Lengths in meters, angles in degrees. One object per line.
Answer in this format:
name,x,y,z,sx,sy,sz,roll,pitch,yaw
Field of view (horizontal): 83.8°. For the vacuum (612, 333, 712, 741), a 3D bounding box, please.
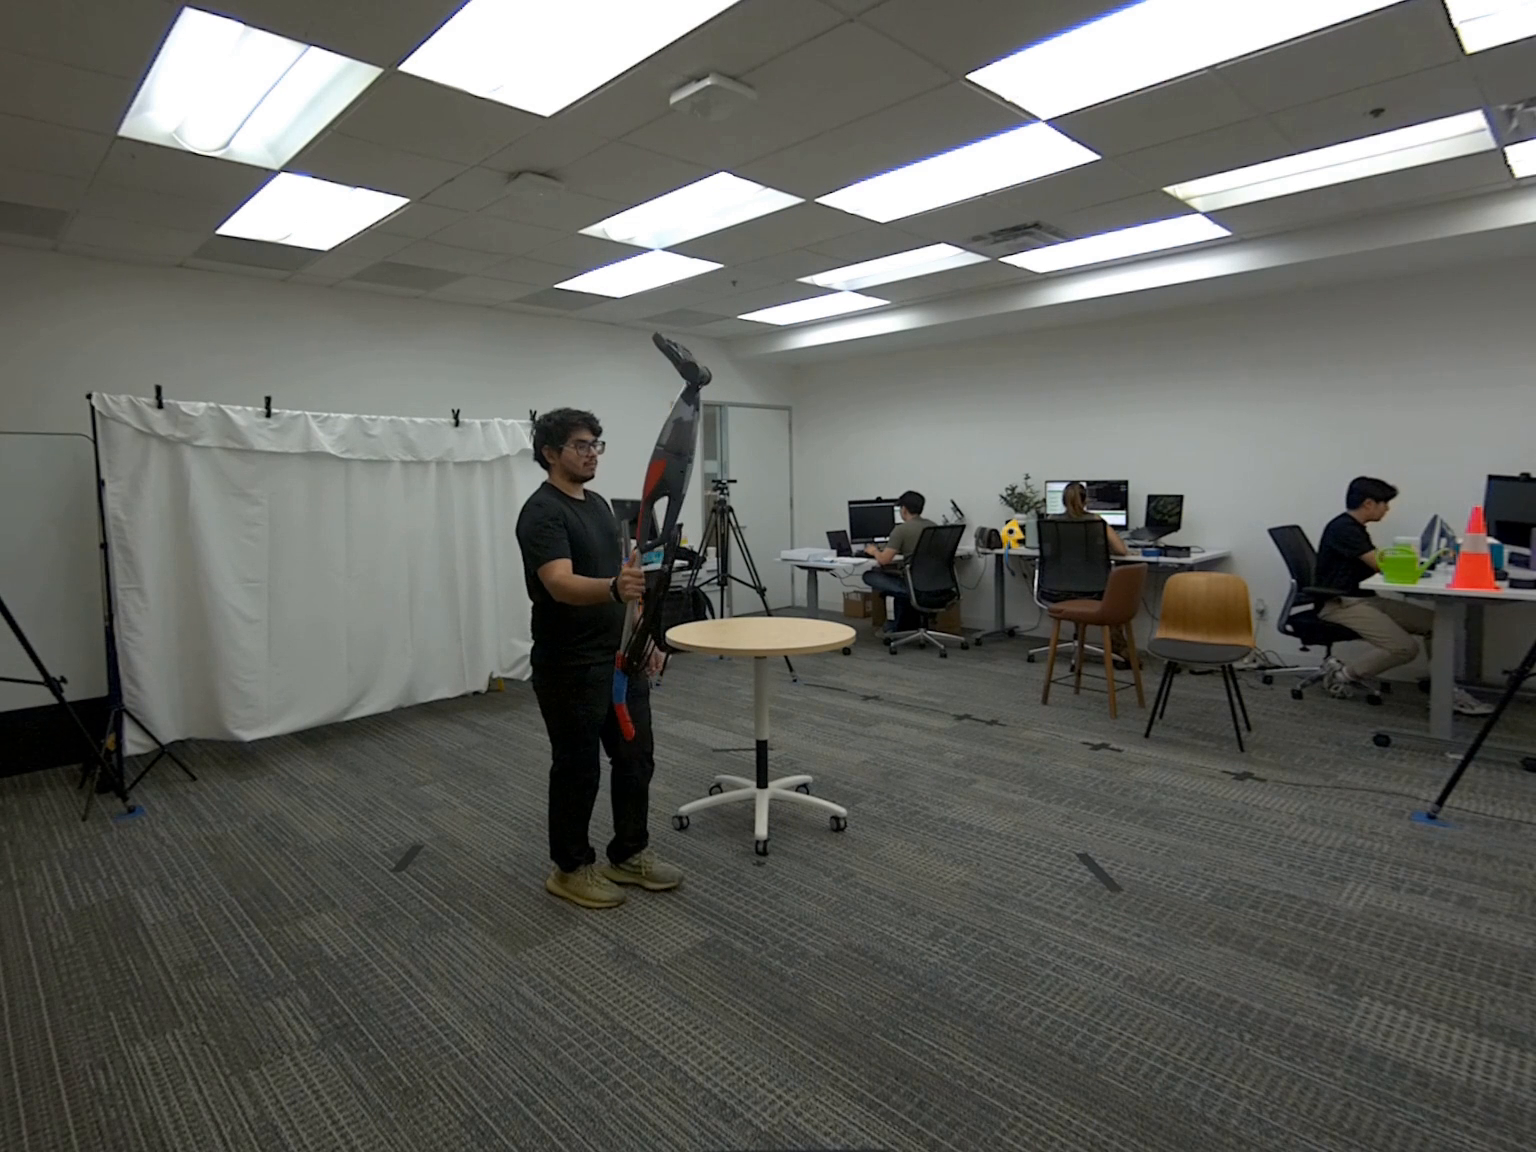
vacuum,-0.296,-0.077,2.309,0.146,1.045,0.251,10,6,9
